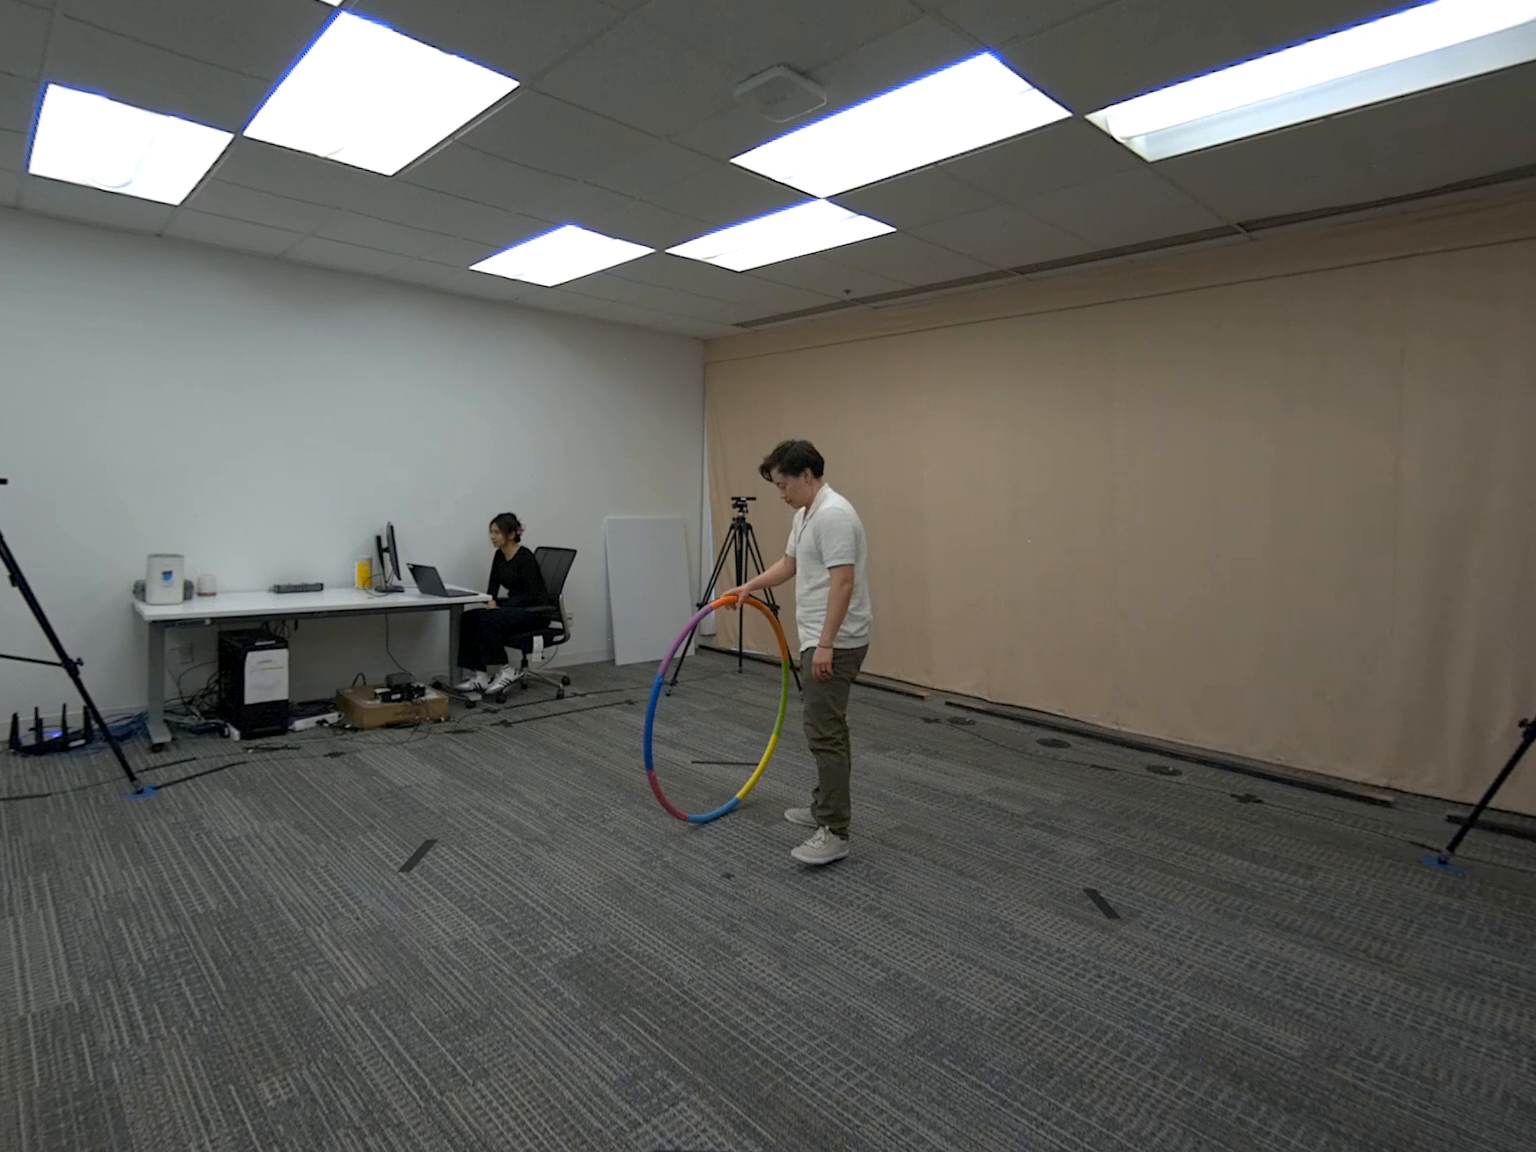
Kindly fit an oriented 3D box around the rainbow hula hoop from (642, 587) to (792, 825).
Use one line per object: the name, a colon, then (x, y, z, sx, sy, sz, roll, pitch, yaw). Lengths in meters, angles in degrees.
rainbow hula hoop: (-0.191, 0.570, 3.630, 0.036, 0.975, 0.958, 8, 7, 35)
